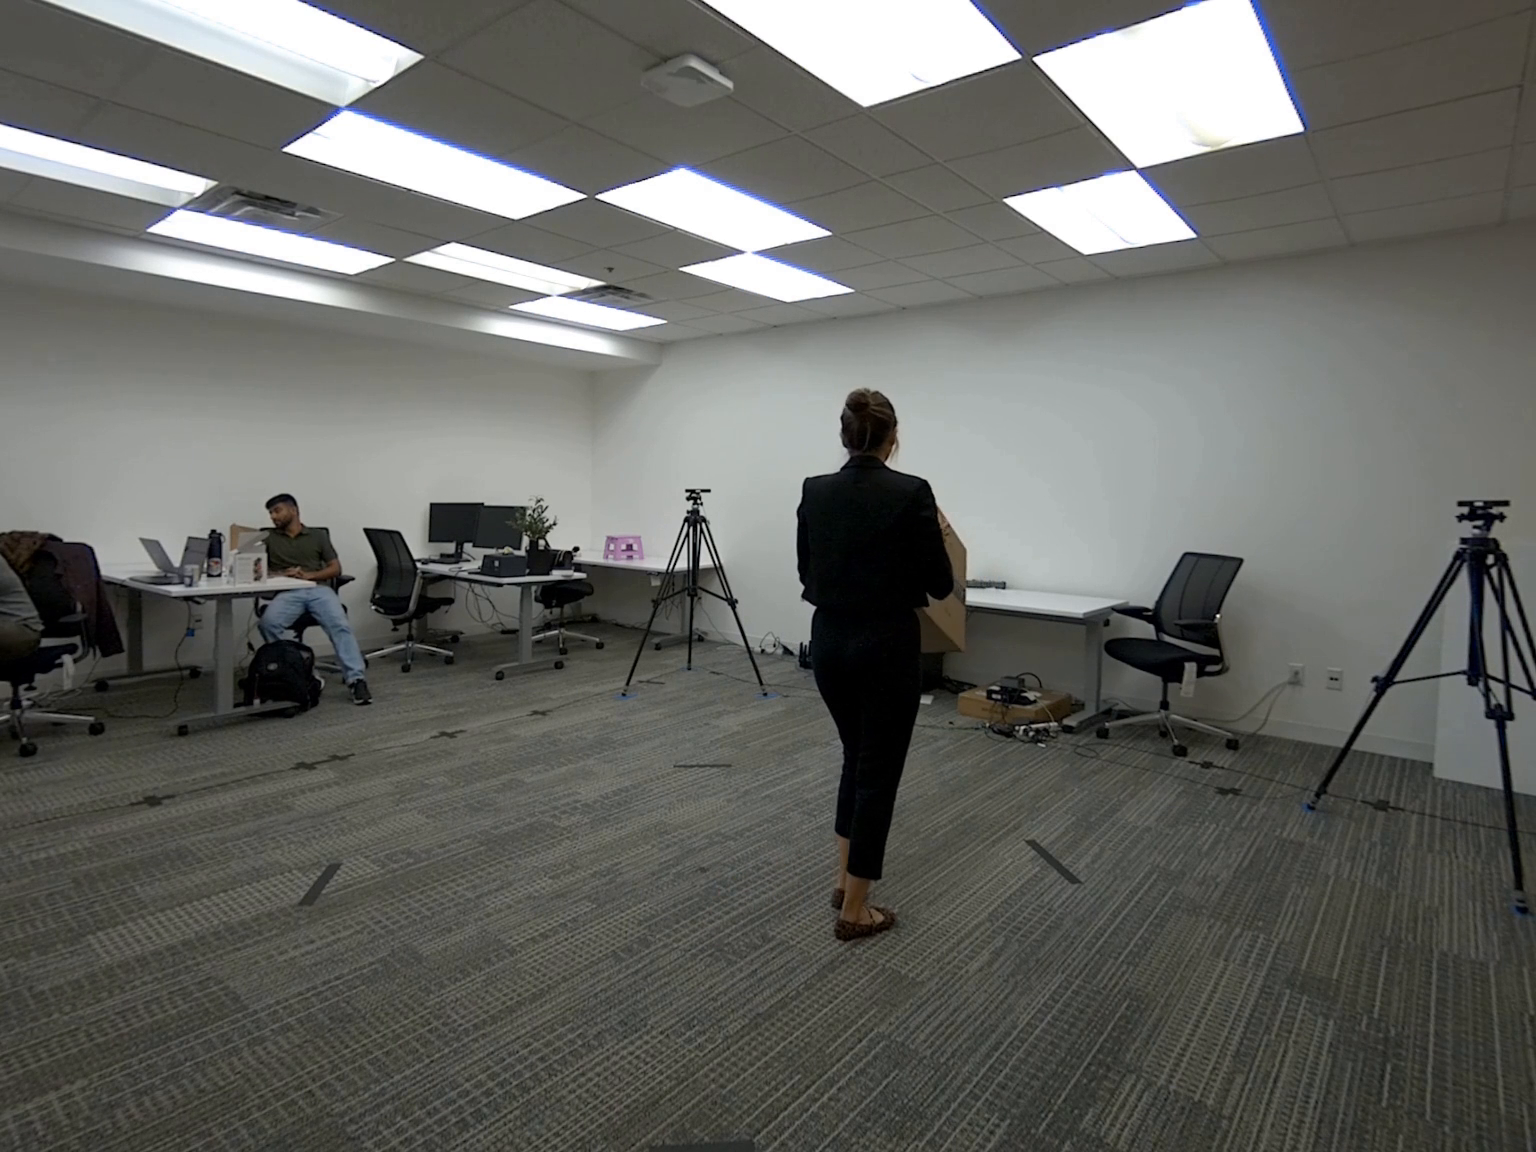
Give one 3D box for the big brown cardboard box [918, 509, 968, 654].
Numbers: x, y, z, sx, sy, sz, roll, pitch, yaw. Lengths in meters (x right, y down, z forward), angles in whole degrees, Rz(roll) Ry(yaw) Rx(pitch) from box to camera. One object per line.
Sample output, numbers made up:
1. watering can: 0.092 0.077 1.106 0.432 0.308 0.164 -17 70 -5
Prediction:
1. big brown cardboard box: 0.542 0.004 3.087 0.239 0.424 0.566 -3 -22 26
